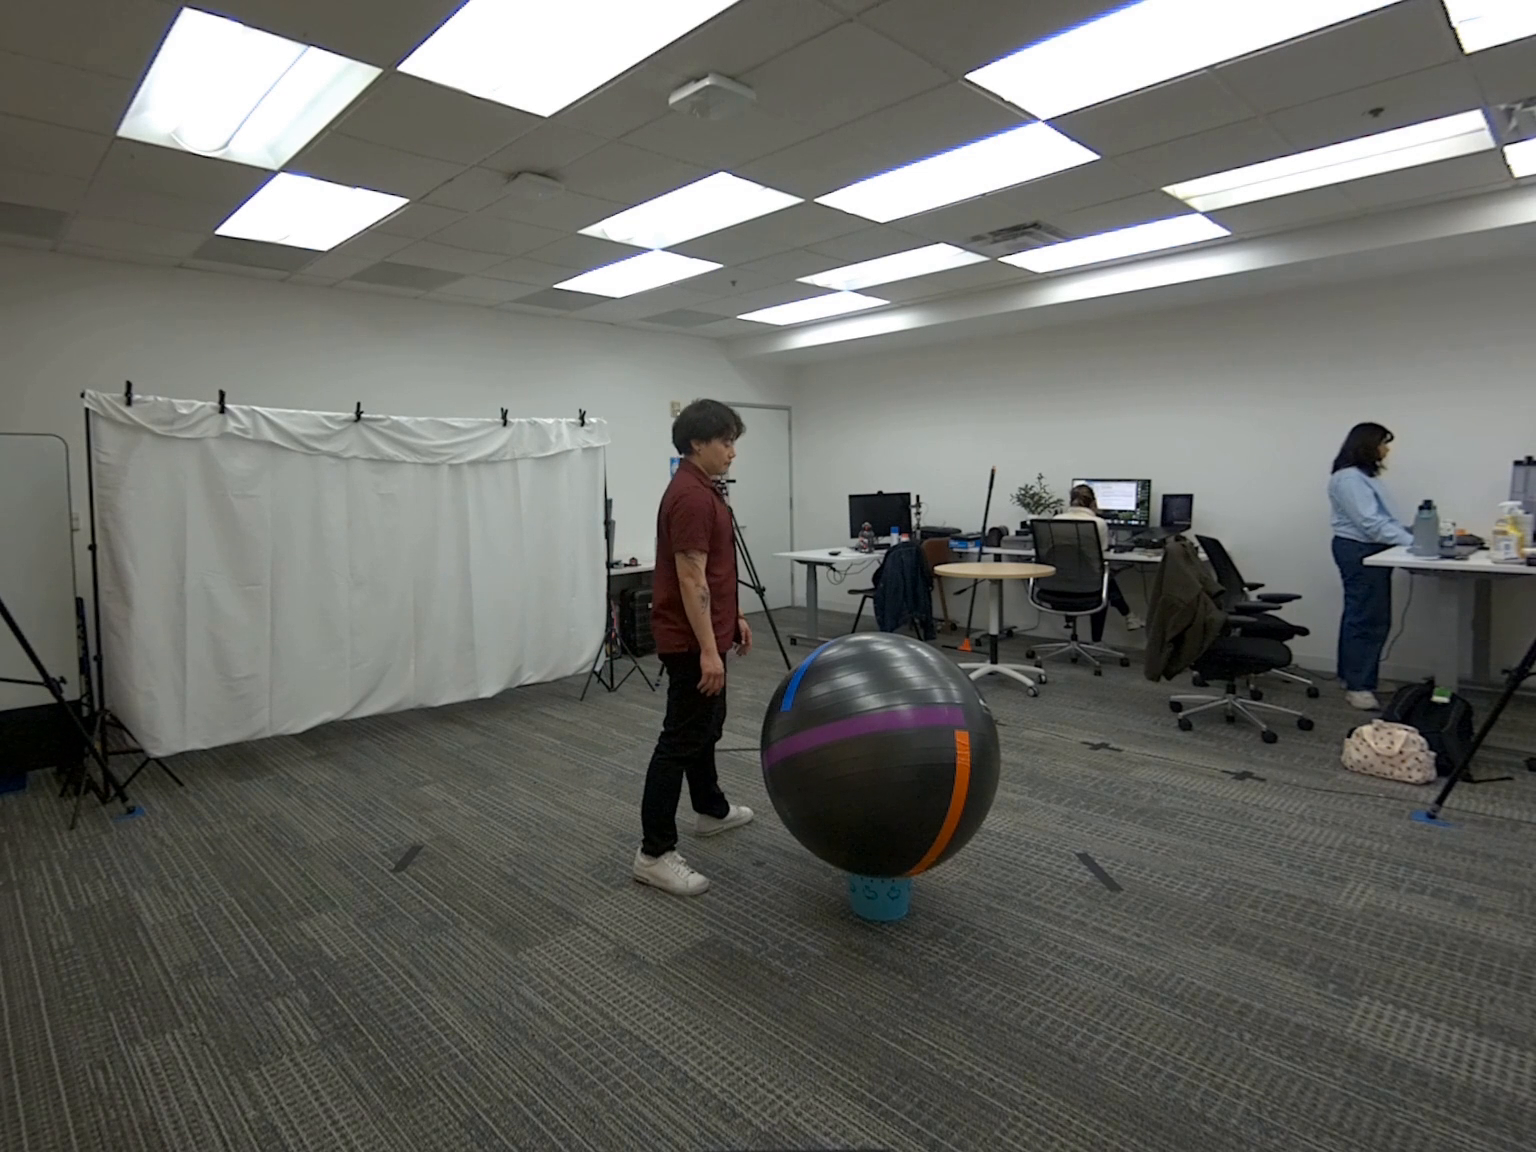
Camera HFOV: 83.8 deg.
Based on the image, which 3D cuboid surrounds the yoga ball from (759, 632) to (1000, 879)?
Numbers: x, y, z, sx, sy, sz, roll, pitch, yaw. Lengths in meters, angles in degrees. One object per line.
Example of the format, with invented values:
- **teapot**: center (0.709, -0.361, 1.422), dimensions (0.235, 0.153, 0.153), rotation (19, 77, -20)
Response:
- **yoga ball**: center (0.361, 0.569, 2.749), dimensions (0.757, 0.755, 0.762), rotation (-1, 5, -2)
